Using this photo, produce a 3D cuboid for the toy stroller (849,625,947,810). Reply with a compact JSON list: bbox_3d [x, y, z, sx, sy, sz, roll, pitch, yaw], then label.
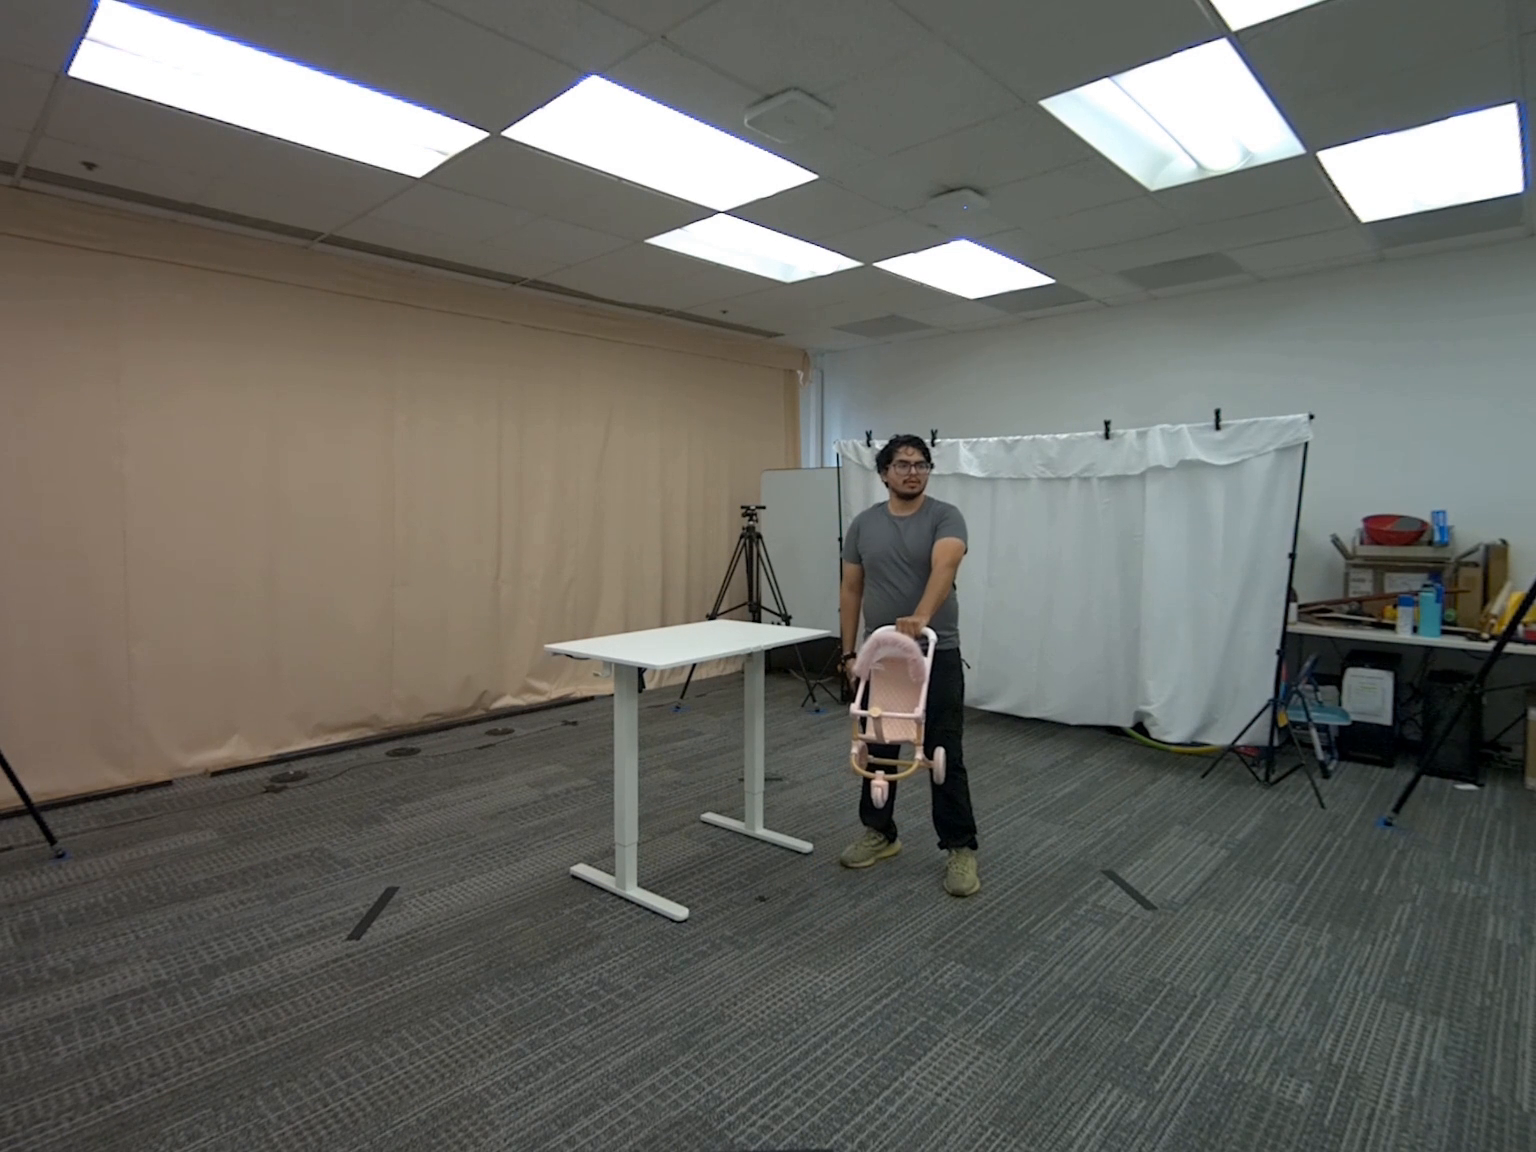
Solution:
[{"bbox_3d":[0.373,0.409,2.531,0.289,0.538,0.331,-1,-10,26],"label":"toy stroller"}]
